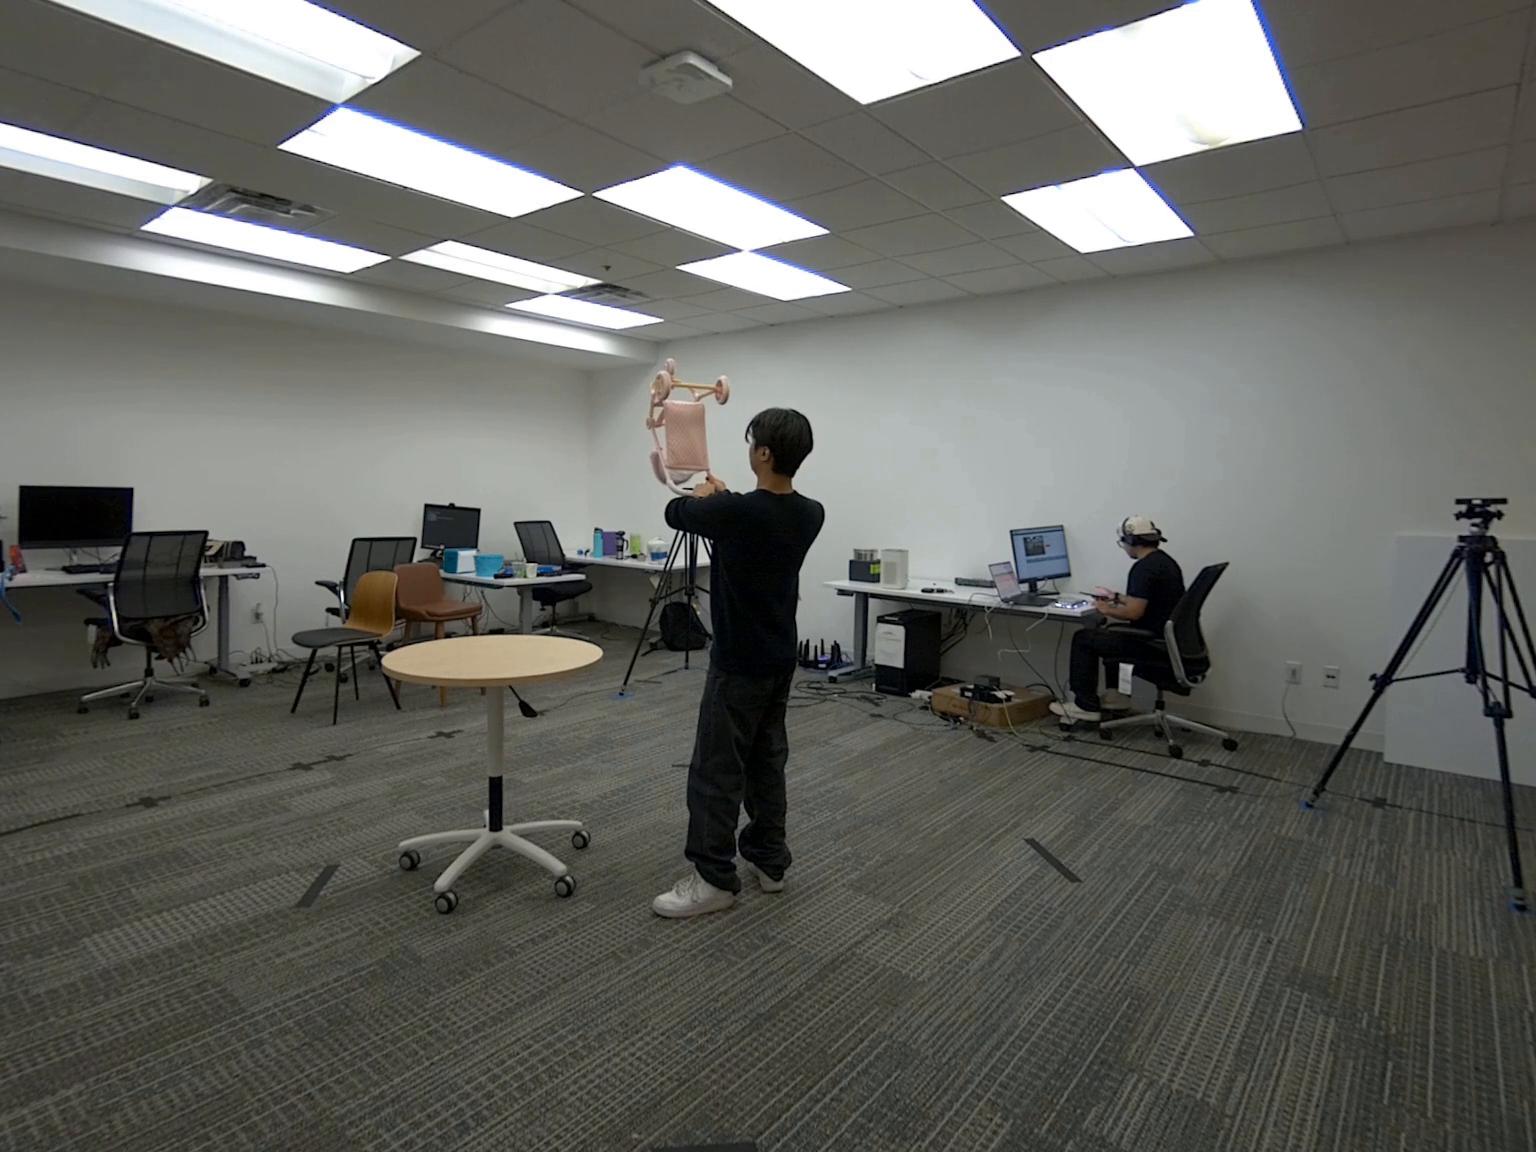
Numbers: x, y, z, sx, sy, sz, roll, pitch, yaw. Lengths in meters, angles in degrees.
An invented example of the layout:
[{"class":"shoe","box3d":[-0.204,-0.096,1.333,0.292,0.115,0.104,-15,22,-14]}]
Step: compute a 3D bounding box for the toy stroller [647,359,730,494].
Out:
[{"class":"toy stroller","box3d":[-0.356,-0.589,3.344,0.274,0.531,0.353,-3,11,-32]}]
